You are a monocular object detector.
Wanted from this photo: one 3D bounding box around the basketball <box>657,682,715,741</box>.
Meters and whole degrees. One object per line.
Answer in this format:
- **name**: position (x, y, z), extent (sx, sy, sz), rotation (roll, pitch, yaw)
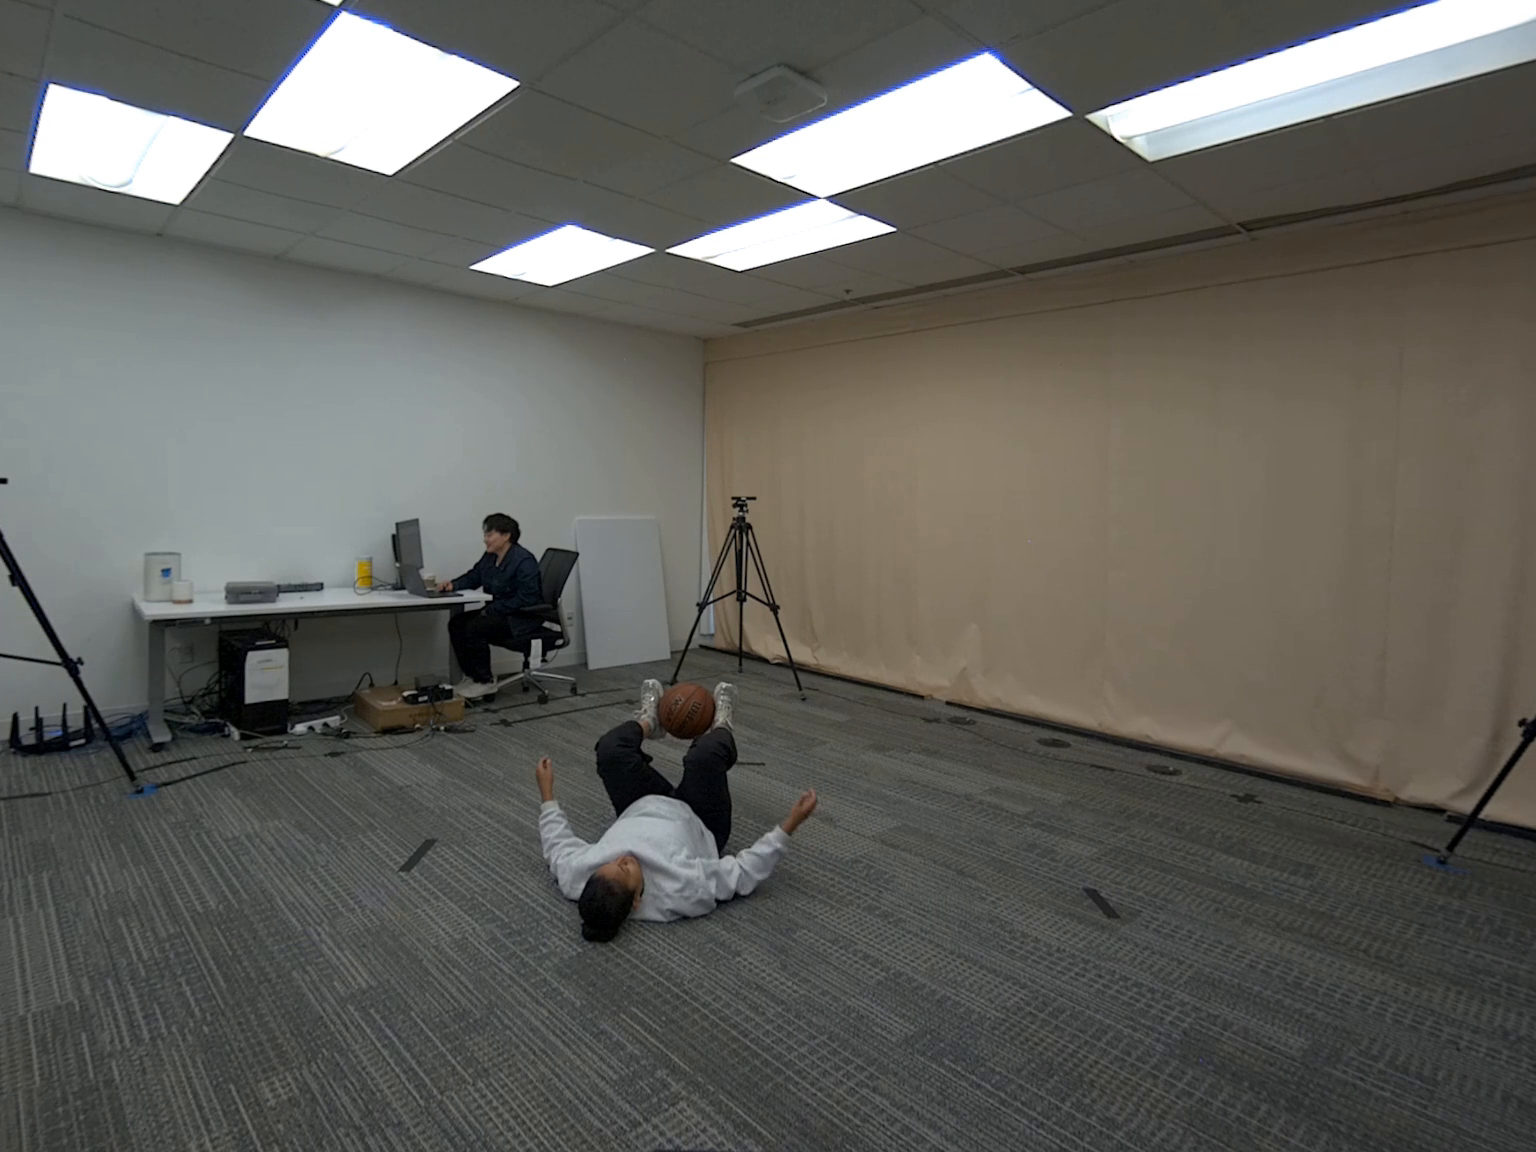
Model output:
- **basketball**: position (-0.349, 0.561, 3.528), extent (0.235, 0.235, 0.237), rotation (4, 7, -2)
